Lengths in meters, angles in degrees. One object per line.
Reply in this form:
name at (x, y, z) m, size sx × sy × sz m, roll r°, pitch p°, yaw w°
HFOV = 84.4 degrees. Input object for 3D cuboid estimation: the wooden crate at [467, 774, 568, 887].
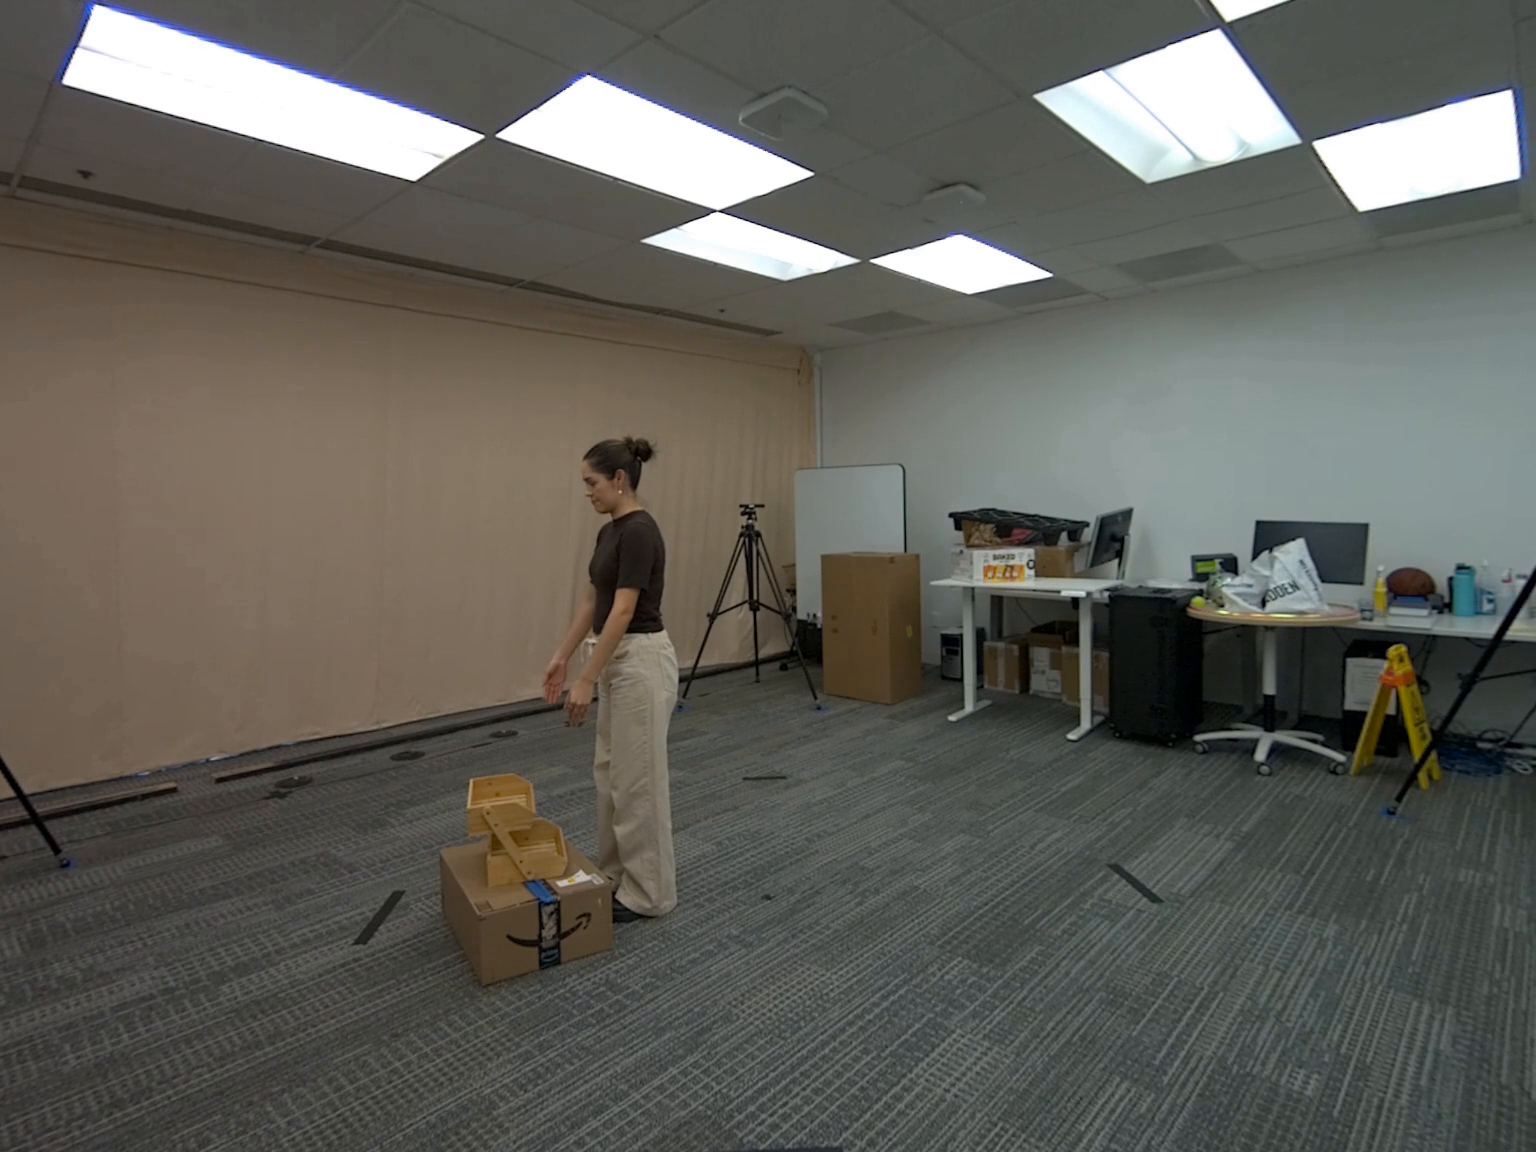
wooden crate at (-0.828, 0.827, 2.803) m, size 0.297 × 0.273 × 0.330 m, roll -4°, pitch 4°, yaw -16°
